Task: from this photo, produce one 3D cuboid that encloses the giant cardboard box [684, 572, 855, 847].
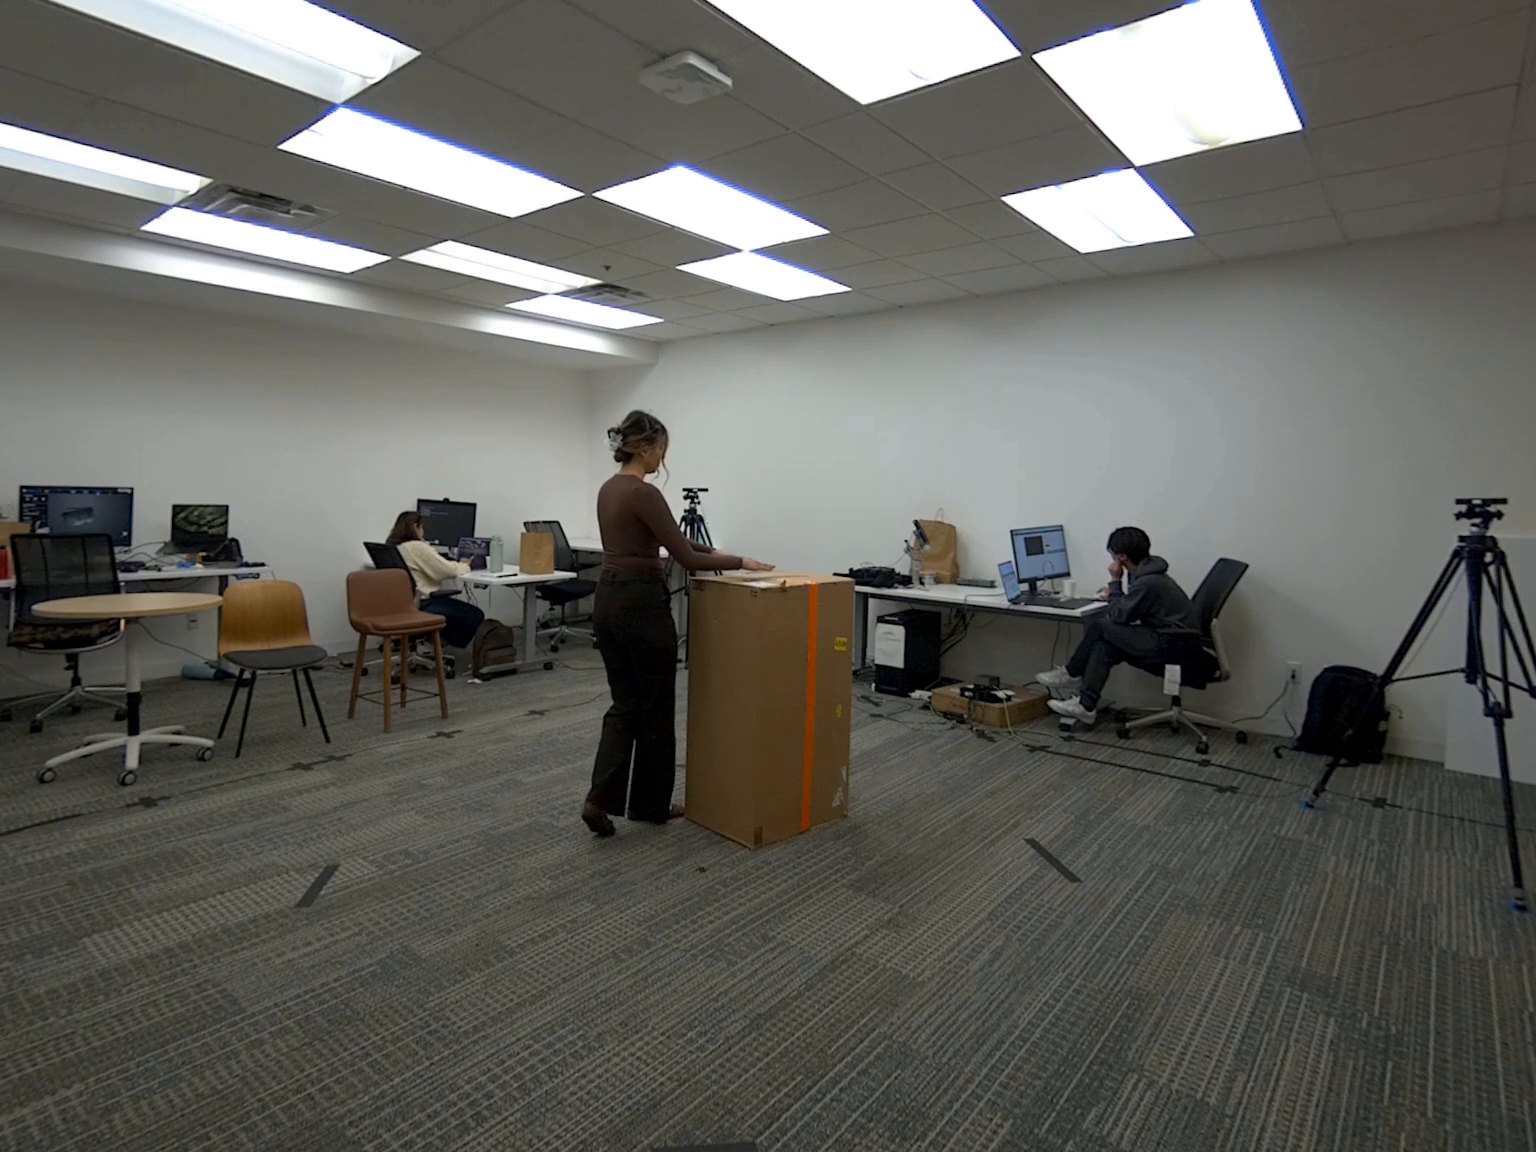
[{"bbox_3d":[0.004,0.515,3.603,0.566,1.023,0.462,-2,5,-43],"label":"giant cardboard box"}]
